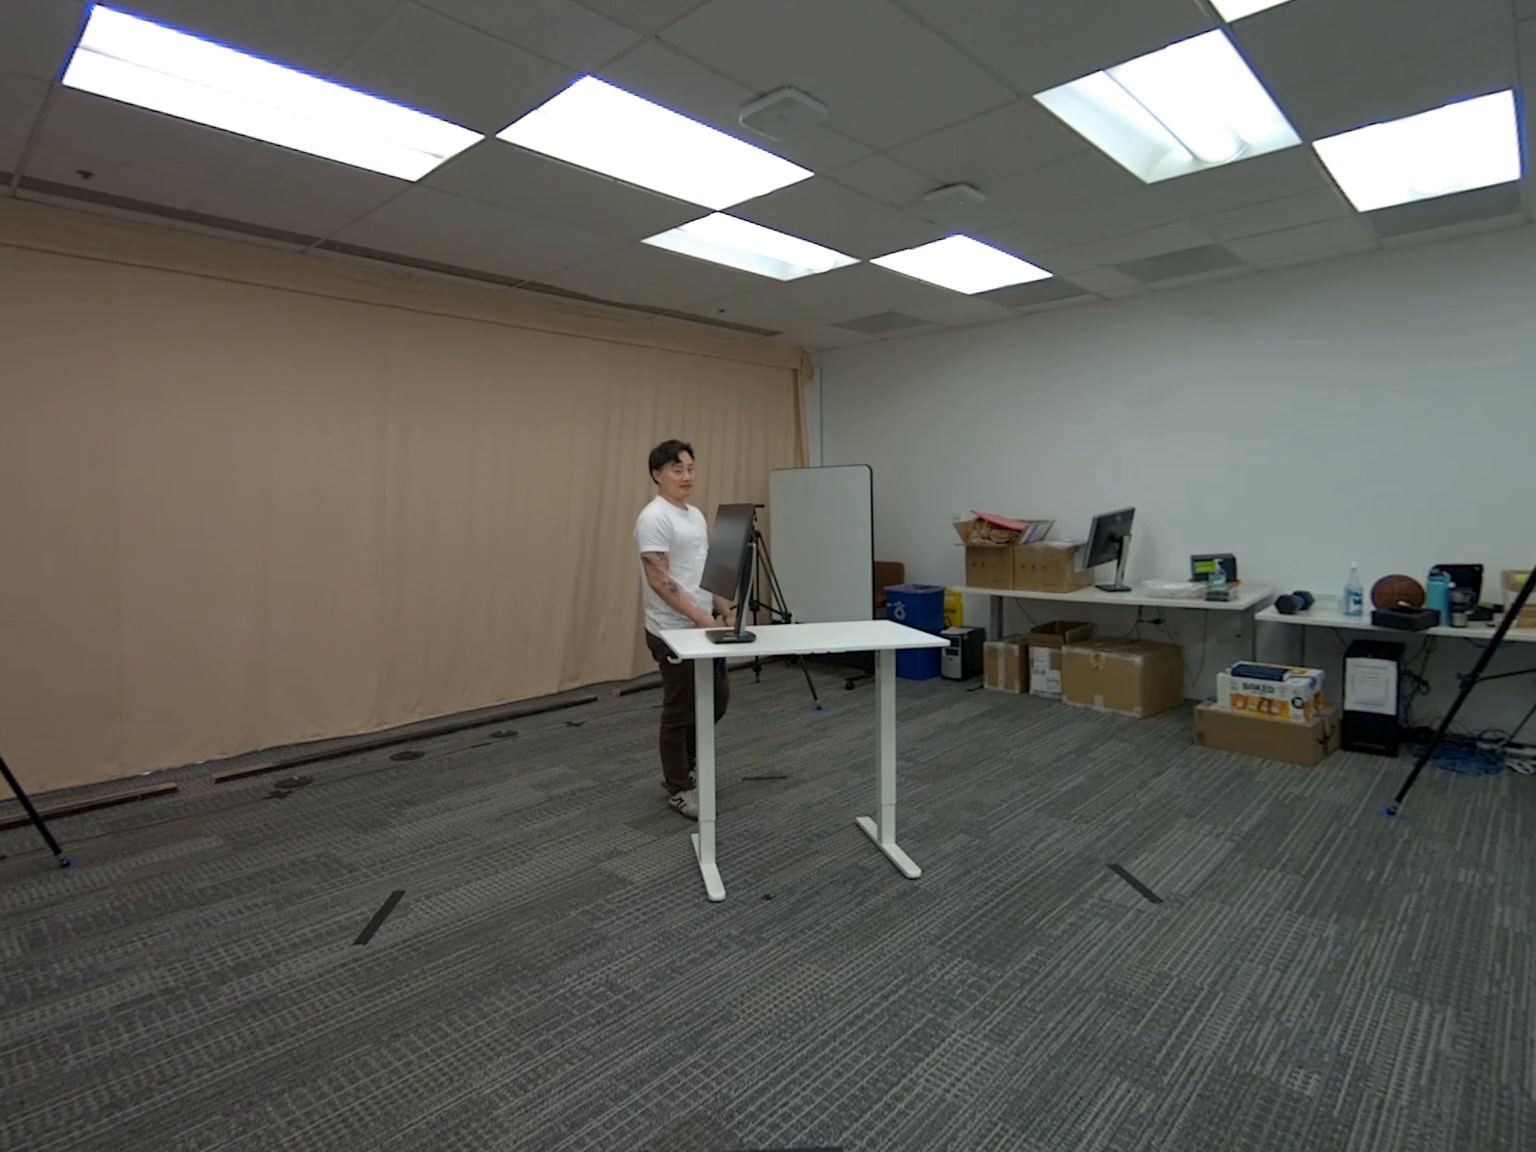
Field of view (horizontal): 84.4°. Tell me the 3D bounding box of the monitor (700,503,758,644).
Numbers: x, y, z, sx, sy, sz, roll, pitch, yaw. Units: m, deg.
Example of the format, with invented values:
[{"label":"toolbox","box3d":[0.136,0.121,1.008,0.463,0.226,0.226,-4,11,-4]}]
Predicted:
[{"label":"monitor","box3d":[-0.127,-0.014,3.226,0.184,0.522,0.549,0,3,-18]}]
